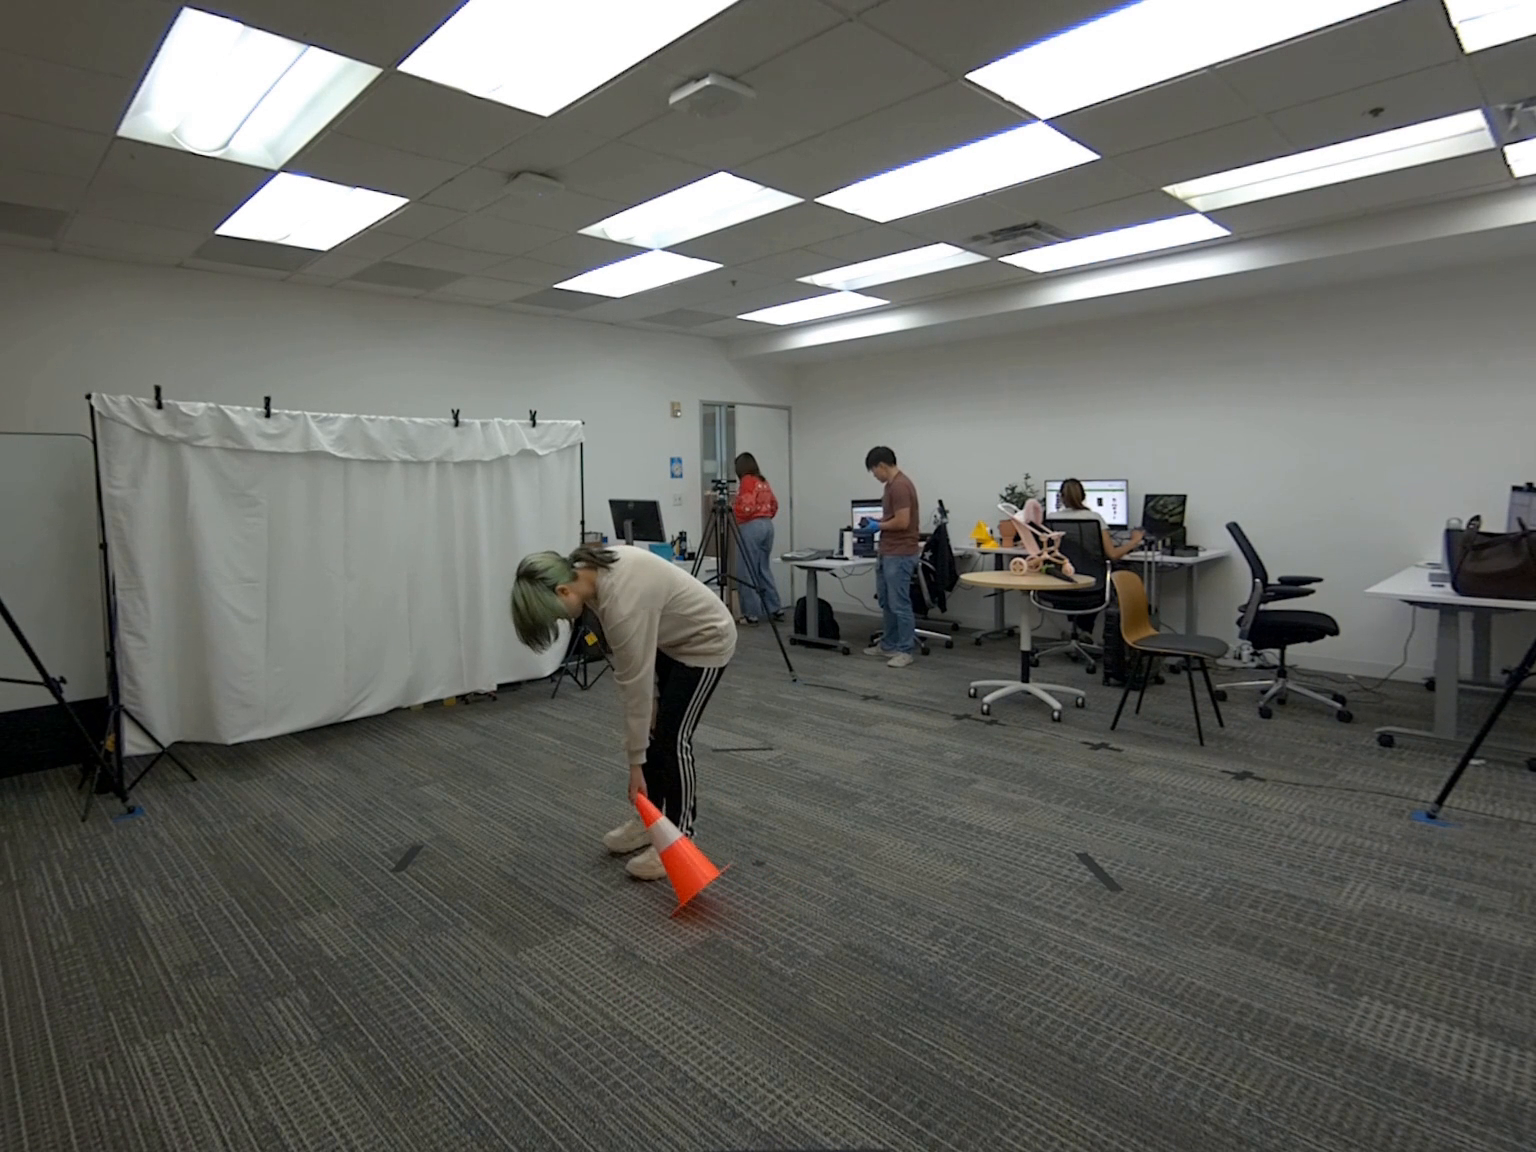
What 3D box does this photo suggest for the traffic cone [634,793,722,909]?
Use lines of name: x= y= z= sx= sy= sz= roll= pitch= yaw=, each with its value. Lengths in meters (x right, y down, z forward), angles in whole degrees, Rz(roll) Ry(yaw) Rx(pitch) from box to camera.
traffic cone: x=-0.335 y=0.879 z=2.823 sx=0.203 sy=0.391 sz=0.201 roll=-46 pitch=-14 yaw=25
